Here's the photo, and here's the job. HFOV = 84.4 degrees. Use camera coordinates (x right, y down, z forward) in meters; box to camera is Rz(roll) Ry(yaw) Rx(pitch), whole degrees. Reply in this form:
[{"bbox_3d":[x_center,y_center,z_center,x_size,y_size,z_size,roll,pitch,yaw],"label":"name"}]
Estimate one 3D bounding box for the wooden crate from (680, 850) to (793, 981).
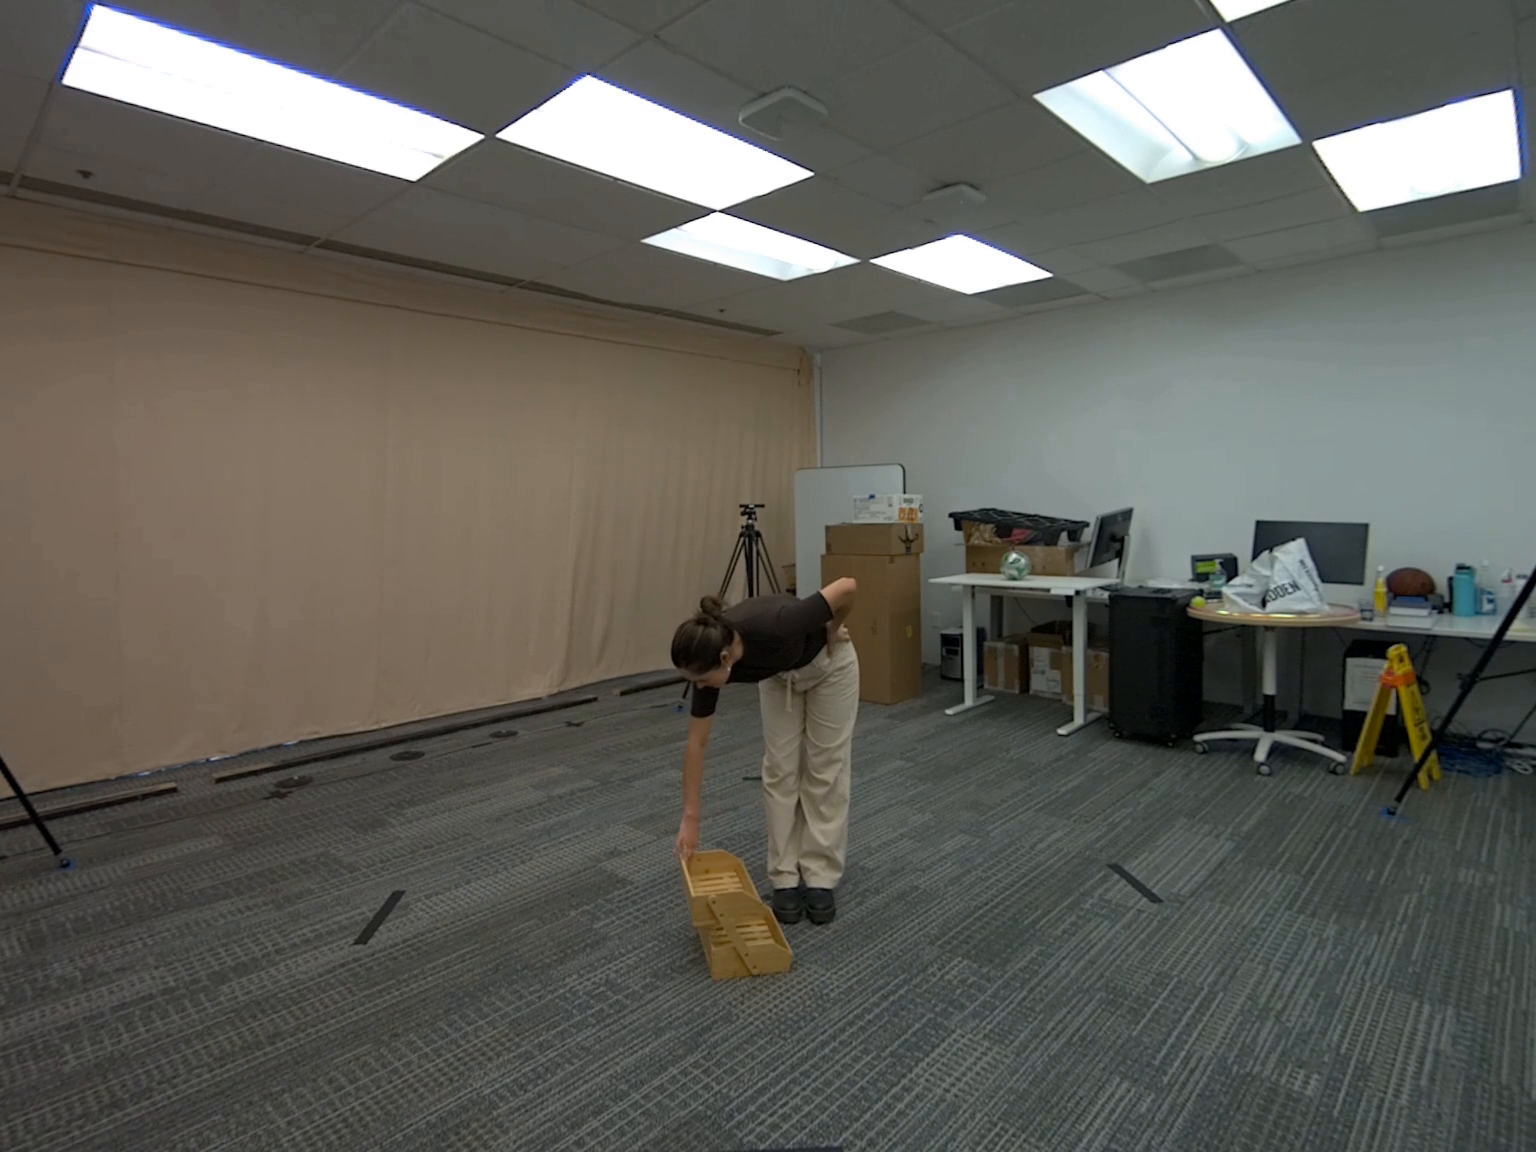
[{"bbox_3d":[-0.098,1.036,2.621,0.299,0.273,0.329,-2,4,-11],"label":"wooden crate"}]
